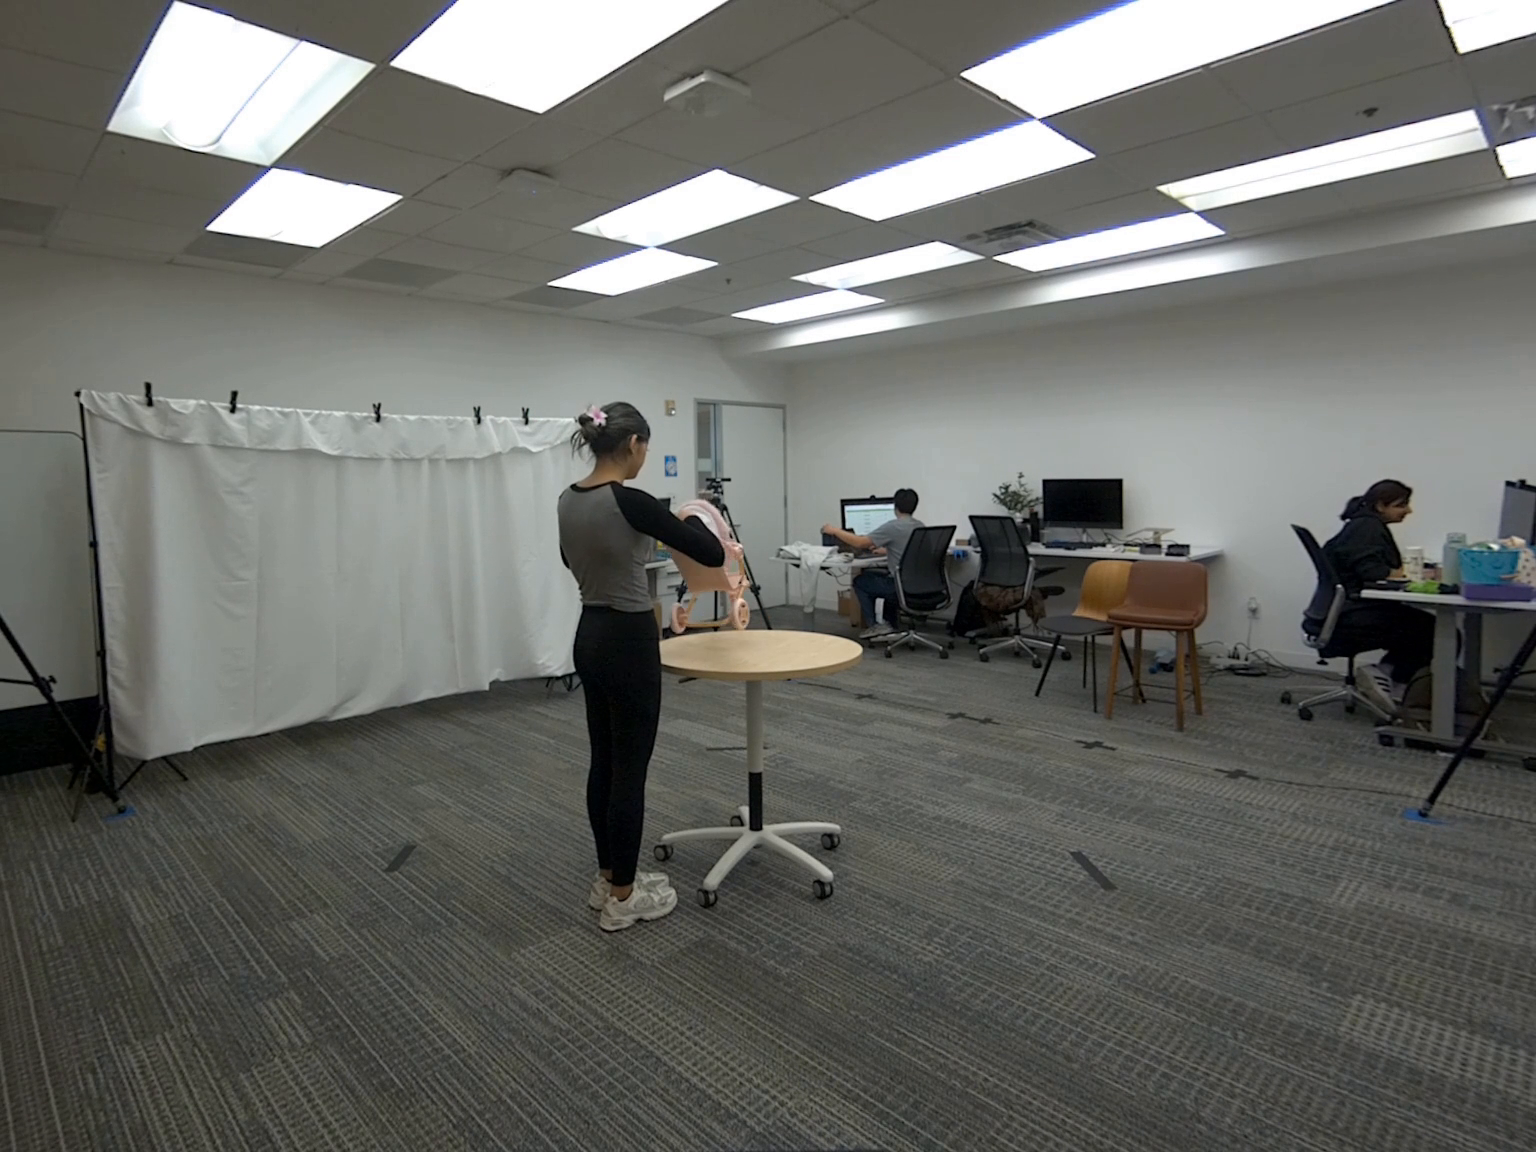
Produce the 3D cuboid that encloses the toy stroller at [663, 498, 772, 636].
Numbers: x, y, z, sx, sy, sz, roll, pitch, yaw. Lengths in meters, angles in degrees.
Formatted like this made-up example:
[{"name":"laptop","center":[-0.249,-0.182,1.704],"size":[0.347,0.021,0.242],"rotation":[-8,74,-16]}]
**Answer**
[{"name":"toy stroller","center":[-0.222,-0.040,3.081],"size":[0.288,0.522,0.342],"rotation":[-3,27,28]}]
